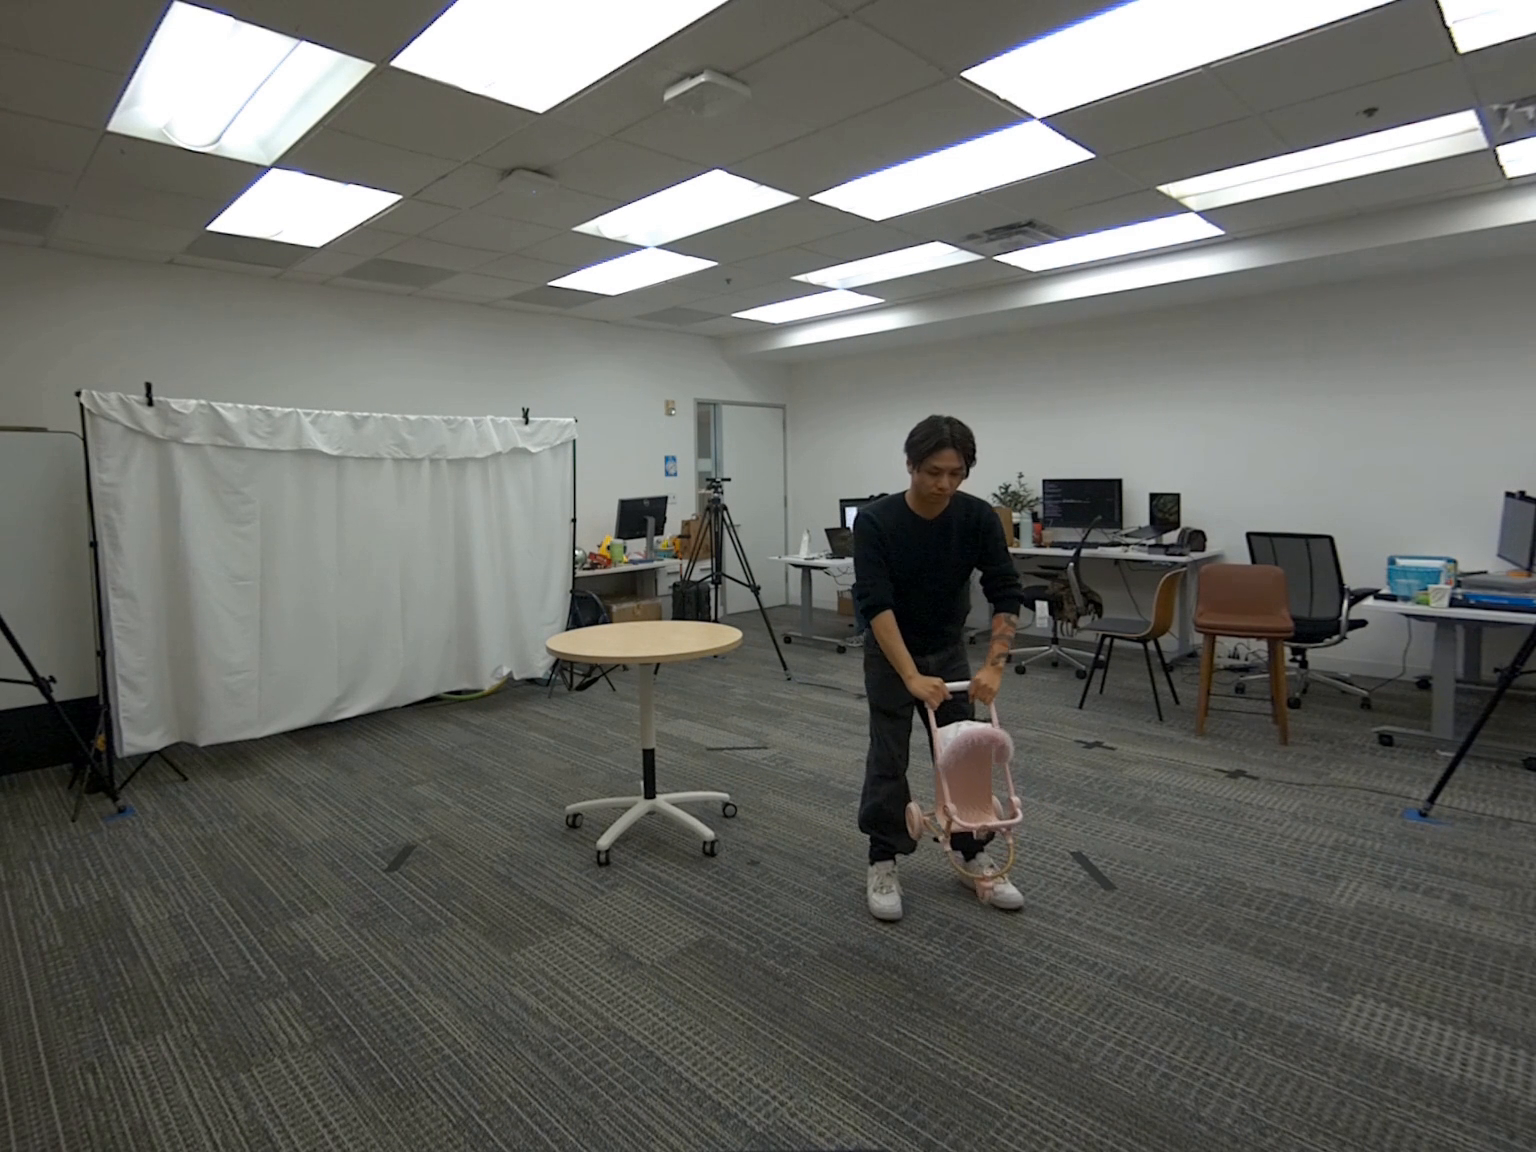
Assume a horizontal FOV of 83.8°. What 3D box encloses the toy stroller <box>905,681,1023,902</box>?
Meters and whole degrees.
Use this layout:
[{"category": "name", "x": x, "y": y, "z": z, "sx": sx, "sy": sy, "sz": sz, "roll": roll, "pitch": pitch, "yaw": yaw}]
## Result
[{"category": "toy stroller", "x": 0.585, "y": 0.630, "z": 2.456, "sx": 0.280, "sy": 0.527, "sz": 0.348, "roll": -1, "pitch": 17, "yaw": -6}]
